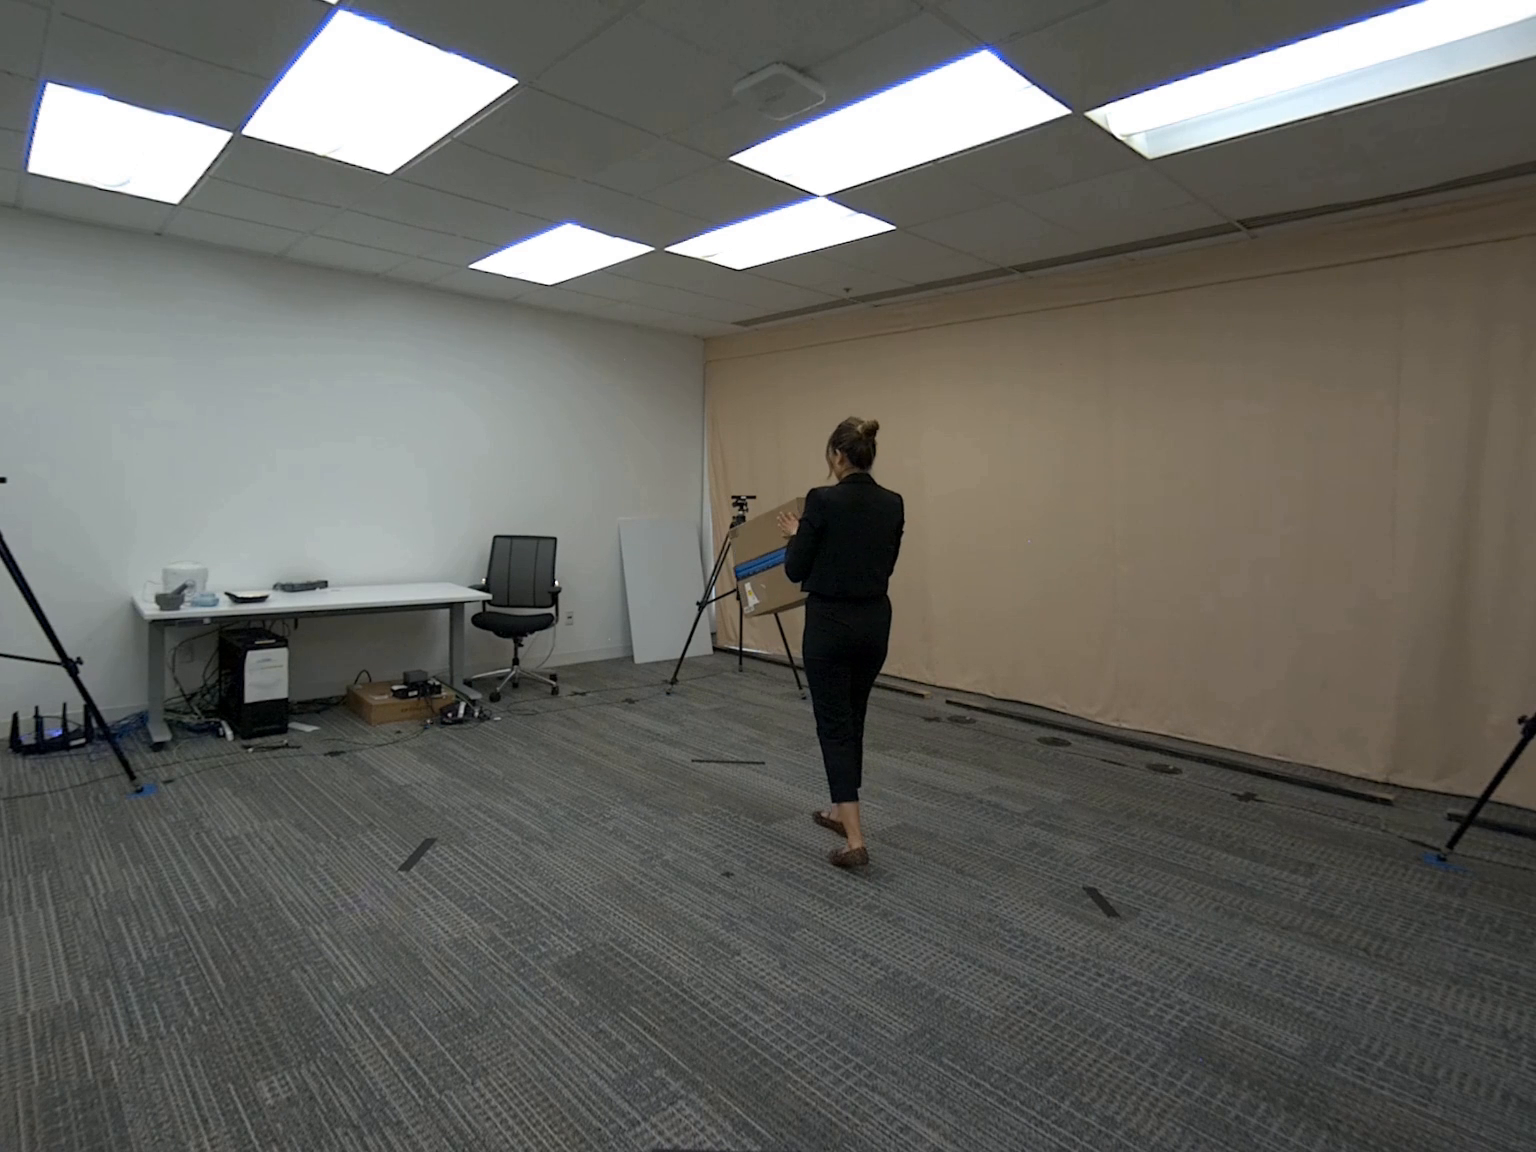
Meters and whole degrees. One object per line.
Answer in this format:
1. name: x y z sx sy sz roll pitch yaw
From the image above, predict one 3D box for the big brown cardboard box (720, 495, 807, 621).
1. big brown cardboard box: 0.075 -0.073 3.749 0.228 0.421 0.596 -5 -10 -35
